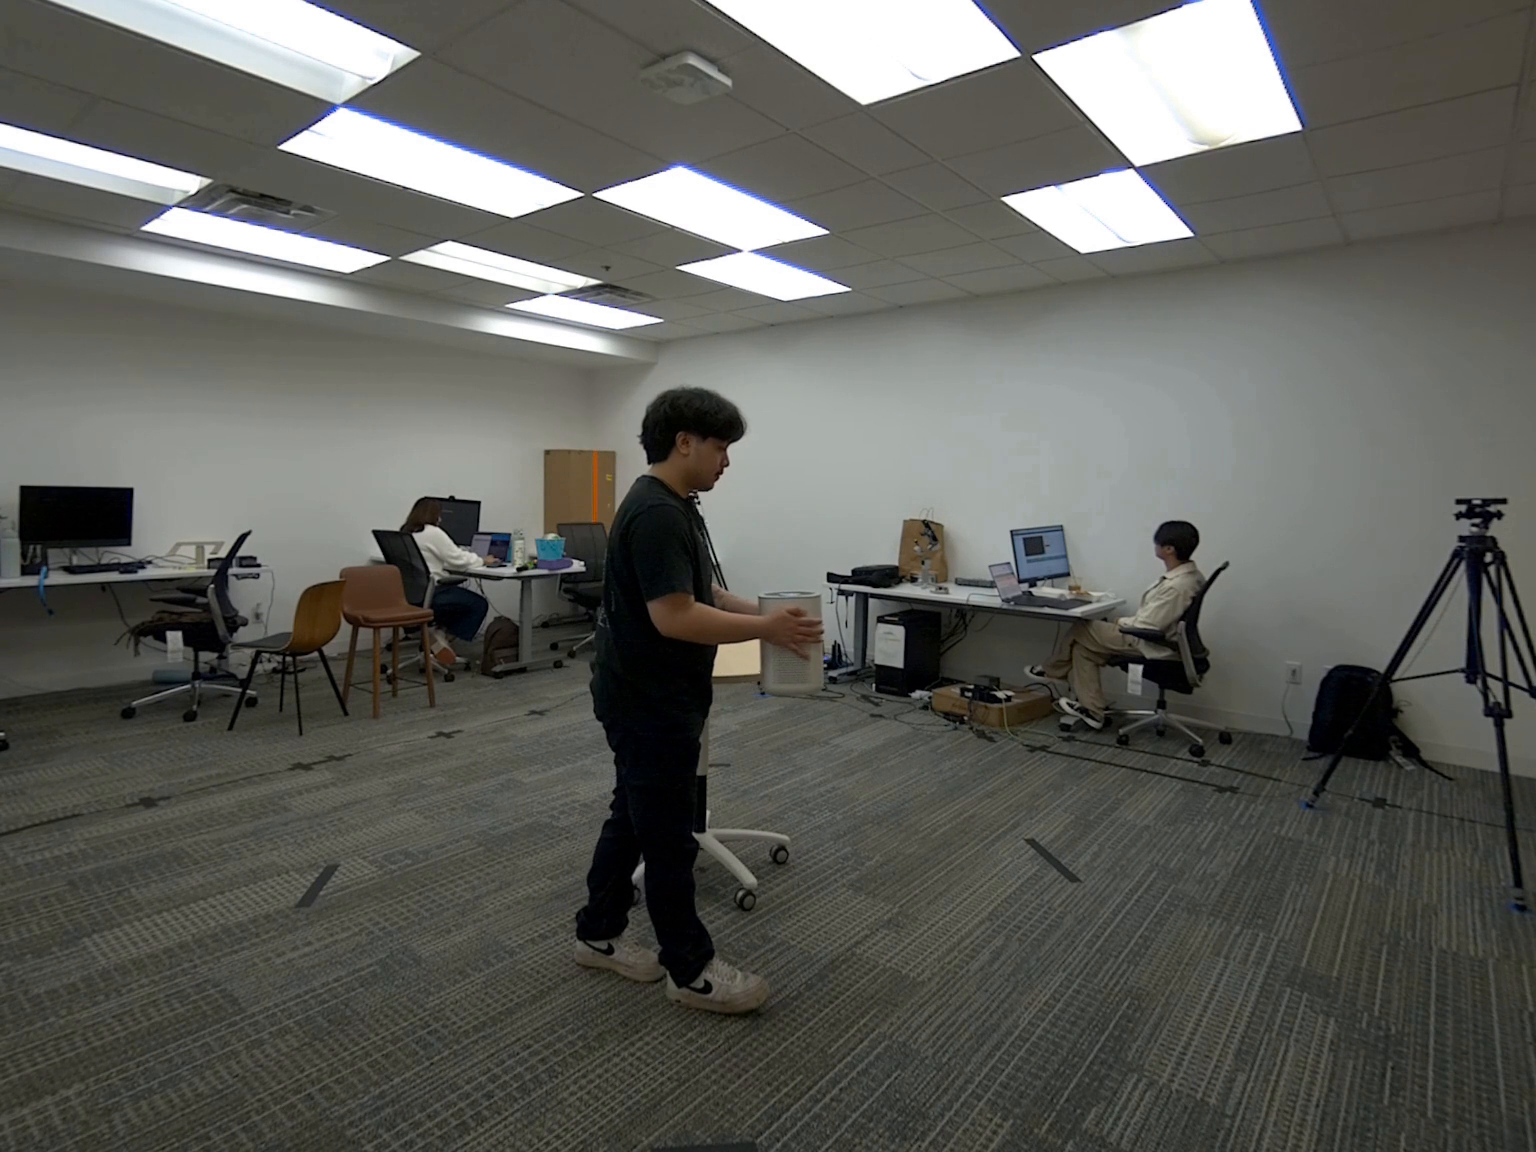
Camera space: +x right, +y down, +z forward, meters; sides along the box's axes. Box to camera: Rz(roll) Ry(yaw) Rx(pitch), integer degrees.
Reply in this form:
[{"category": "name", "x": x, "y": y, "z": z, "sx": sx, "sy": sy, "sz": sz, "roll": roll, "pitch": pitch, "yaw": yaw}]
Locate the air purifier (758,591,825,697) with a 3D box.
[{"category": "air purifier", "x": 0.050, "y": 0.178, "z": 2.321, "sx": 0.172, "sy": 0.264, "sz": 0.172, "roll": -1, "pitch": 4, "yaw": -1}]
